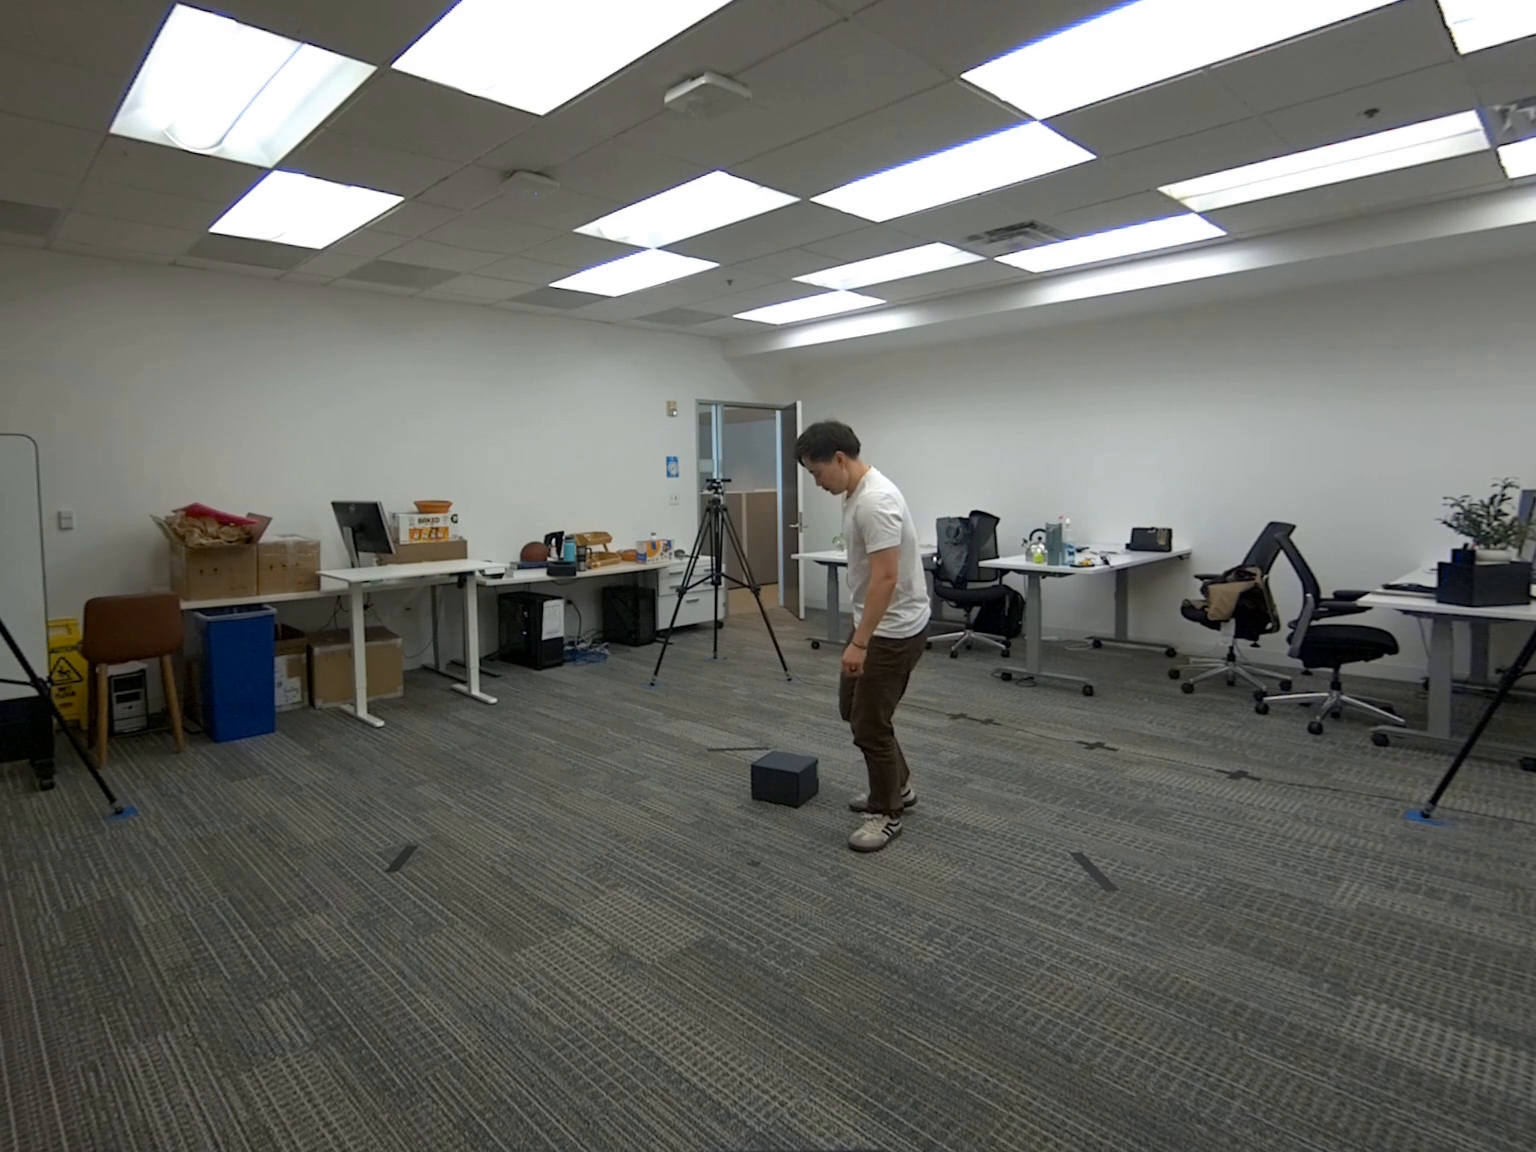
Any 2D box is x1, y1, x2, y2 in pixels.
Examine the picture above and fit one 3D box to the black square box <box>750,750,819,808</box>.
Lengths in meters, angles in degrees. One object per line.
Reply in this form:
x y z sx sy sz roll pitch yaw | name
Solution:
0.078 0.887 3.755 0.234 0.155 0.212 2 6 29 | black square box
